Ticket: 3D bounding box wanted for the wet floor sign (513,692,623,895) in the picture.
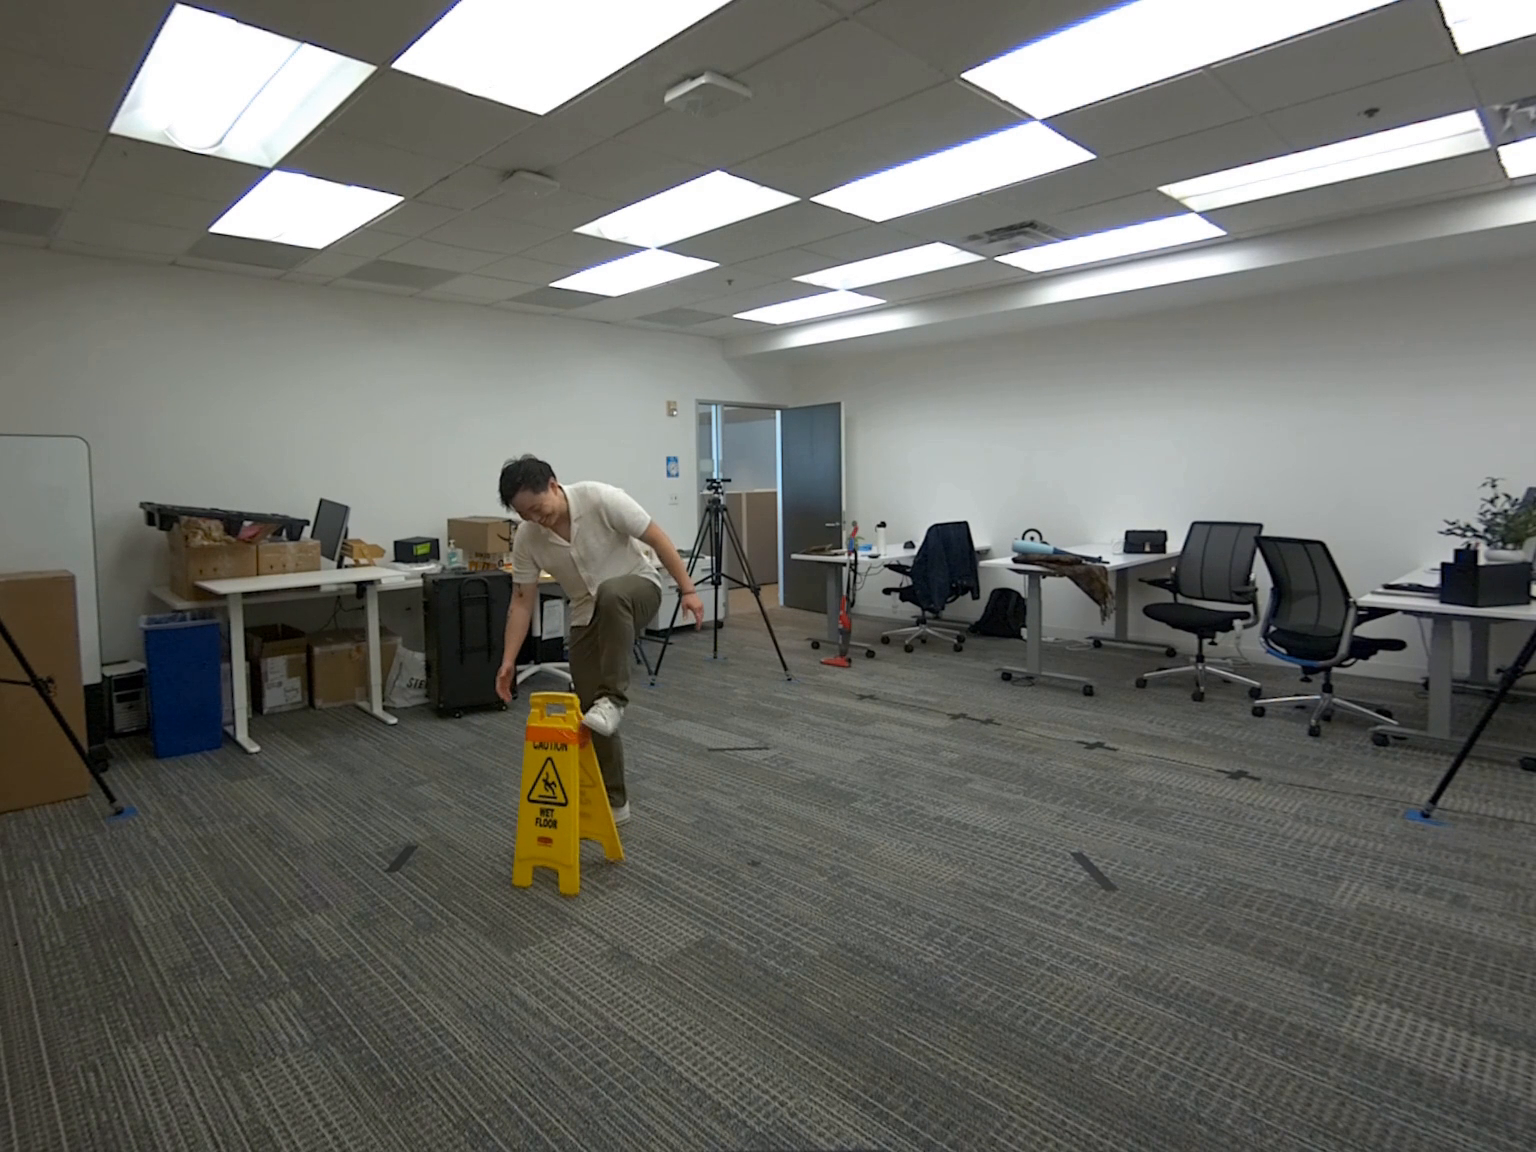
[{"bbox_3d":[-0.740,0.737,3.044,0.288,0.645,0.284,-4,3,25],"label":"wet floor sign"}]
